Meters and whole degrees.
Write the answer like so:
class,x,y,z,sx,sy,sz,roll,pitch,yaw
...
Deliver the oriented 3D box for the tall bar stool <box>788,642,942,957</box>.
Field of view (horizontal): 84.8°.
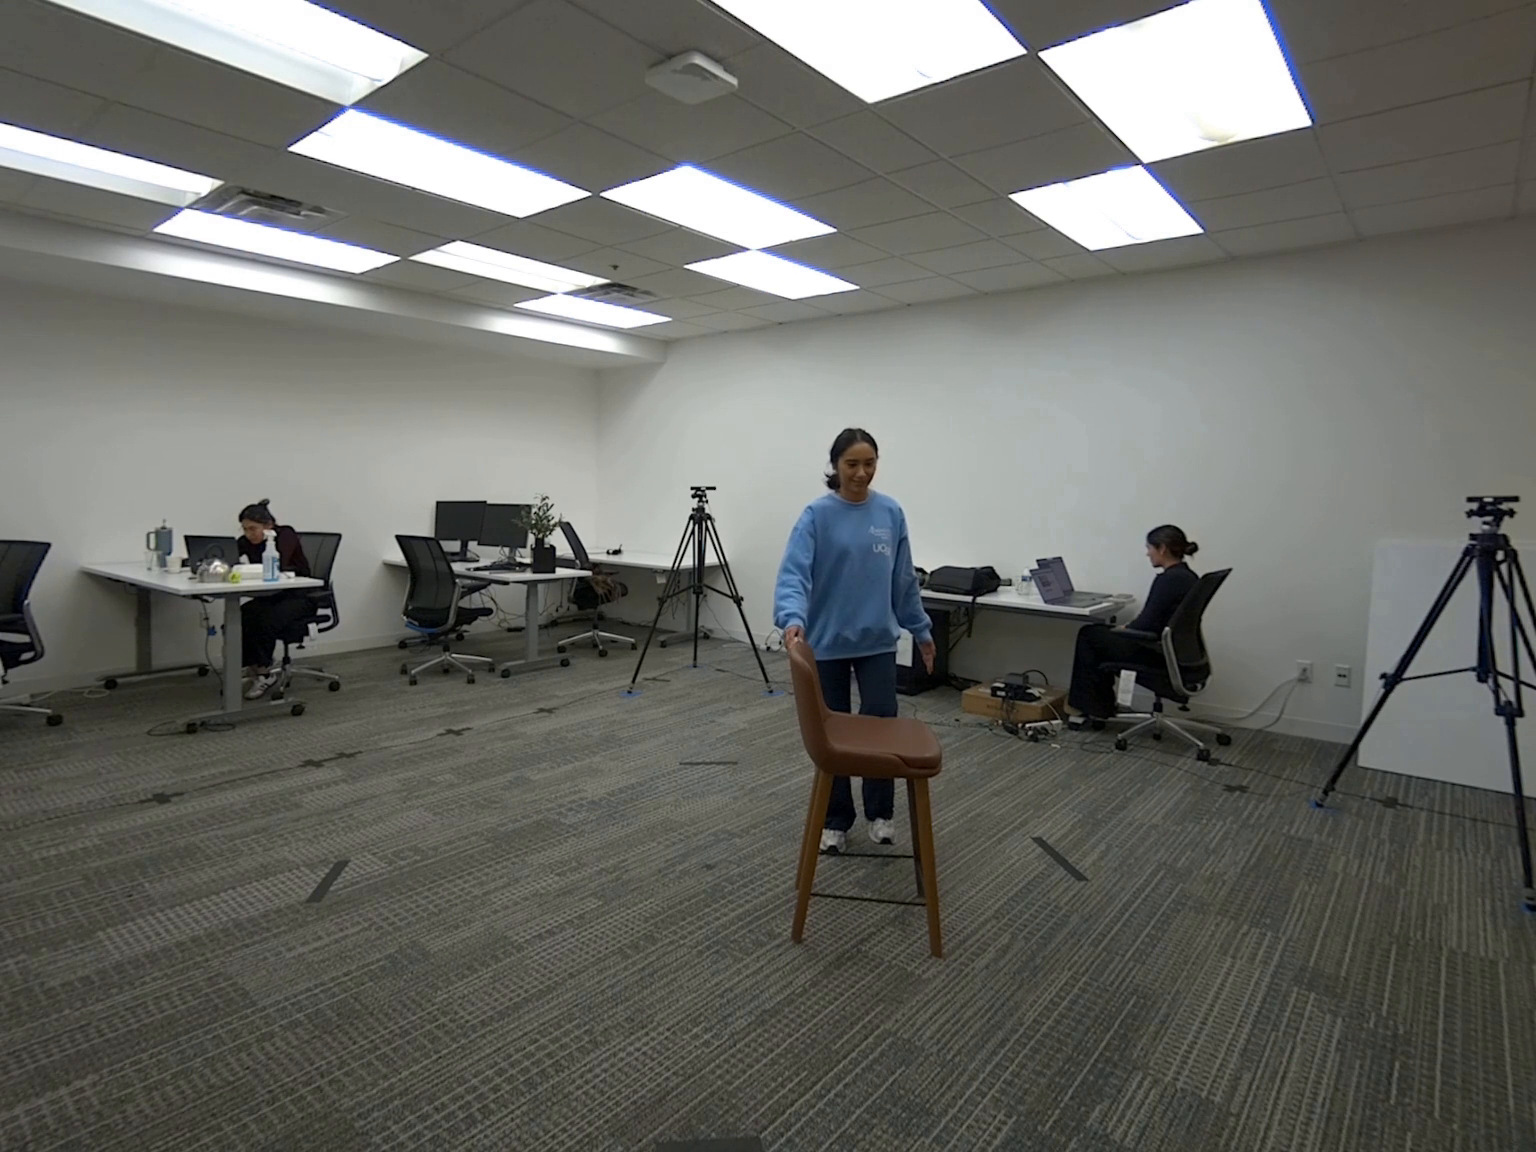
class,x,y,z,sx,sy,sz,roll,pitch,yaw
tall bar stool,0.306,0.679,2.745,0.471,0.888,0.454,1,3,6
